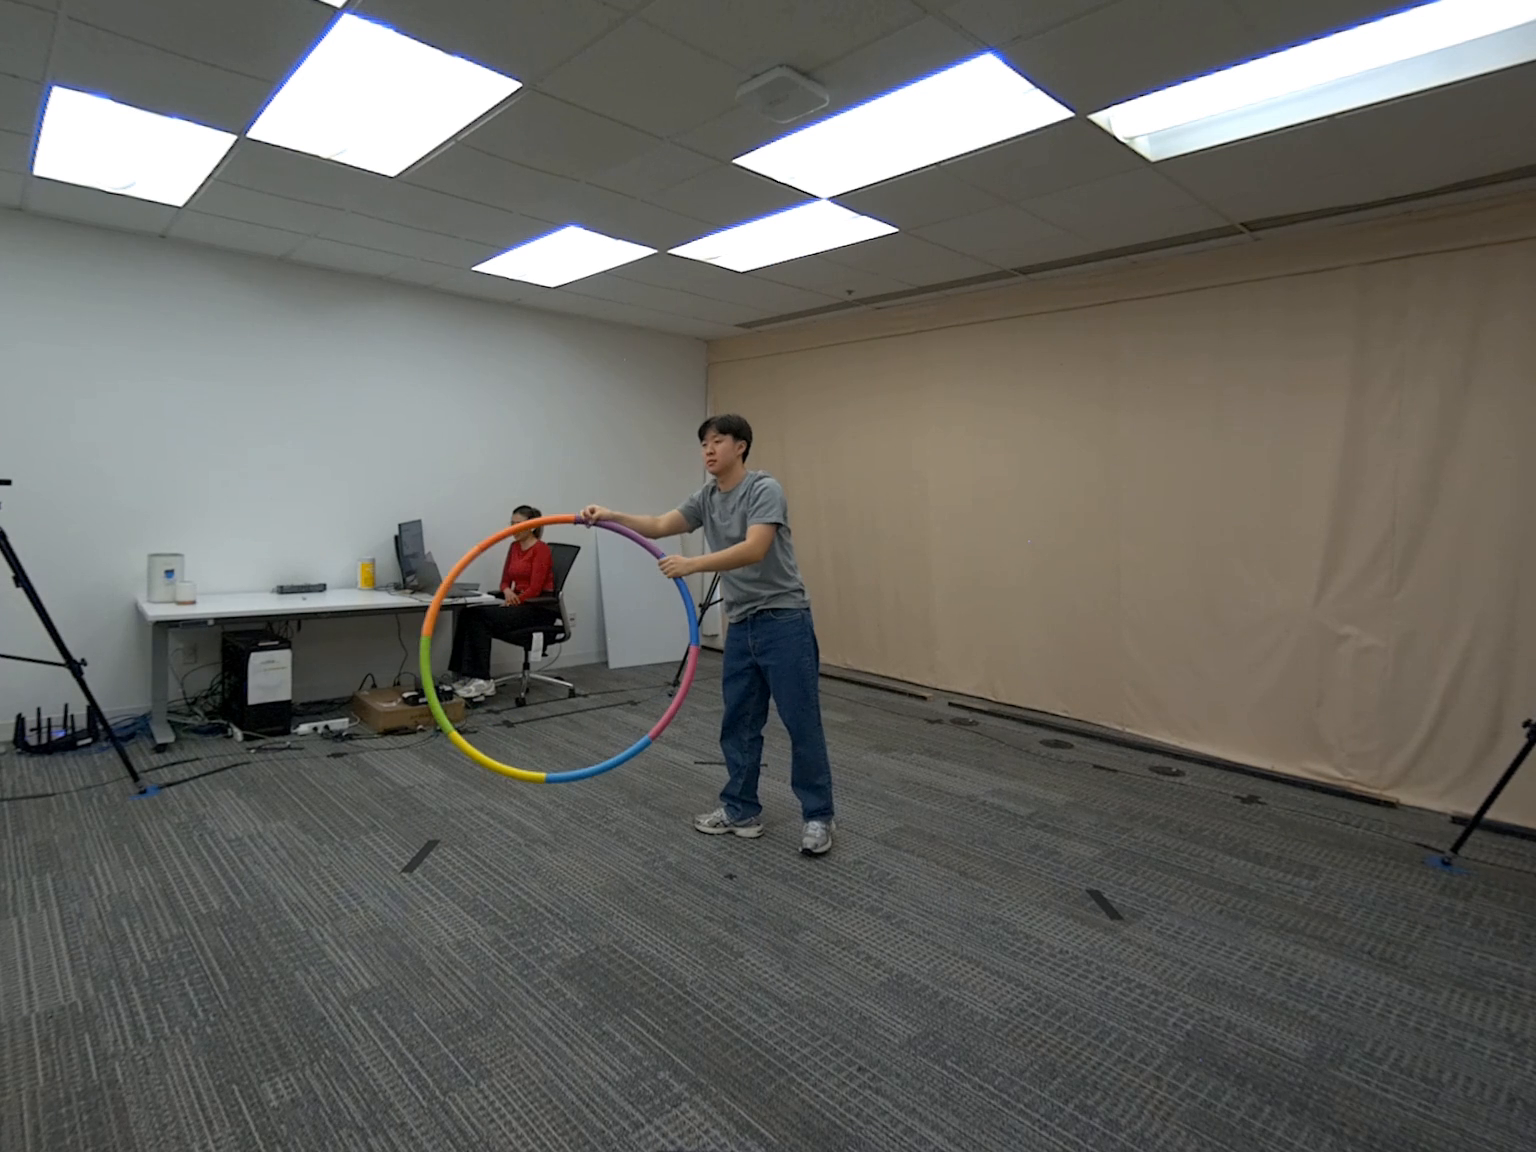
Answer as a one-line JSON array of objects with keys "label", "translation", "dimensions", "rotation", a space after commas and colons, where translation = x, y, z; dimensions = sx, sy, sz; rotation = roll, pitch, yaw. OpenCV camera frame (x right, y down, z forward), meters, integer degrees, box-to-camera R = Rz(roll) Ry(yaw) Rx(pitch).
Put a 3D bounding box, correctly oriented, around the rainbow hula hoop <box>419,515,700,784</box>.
[{"label": "rainbow hula hoop", "translation": [-0.722, 0.227, 3.016], "dimensions": [0.977, 0.993, 0.035], "rotation": [1, -22, -2]}]
